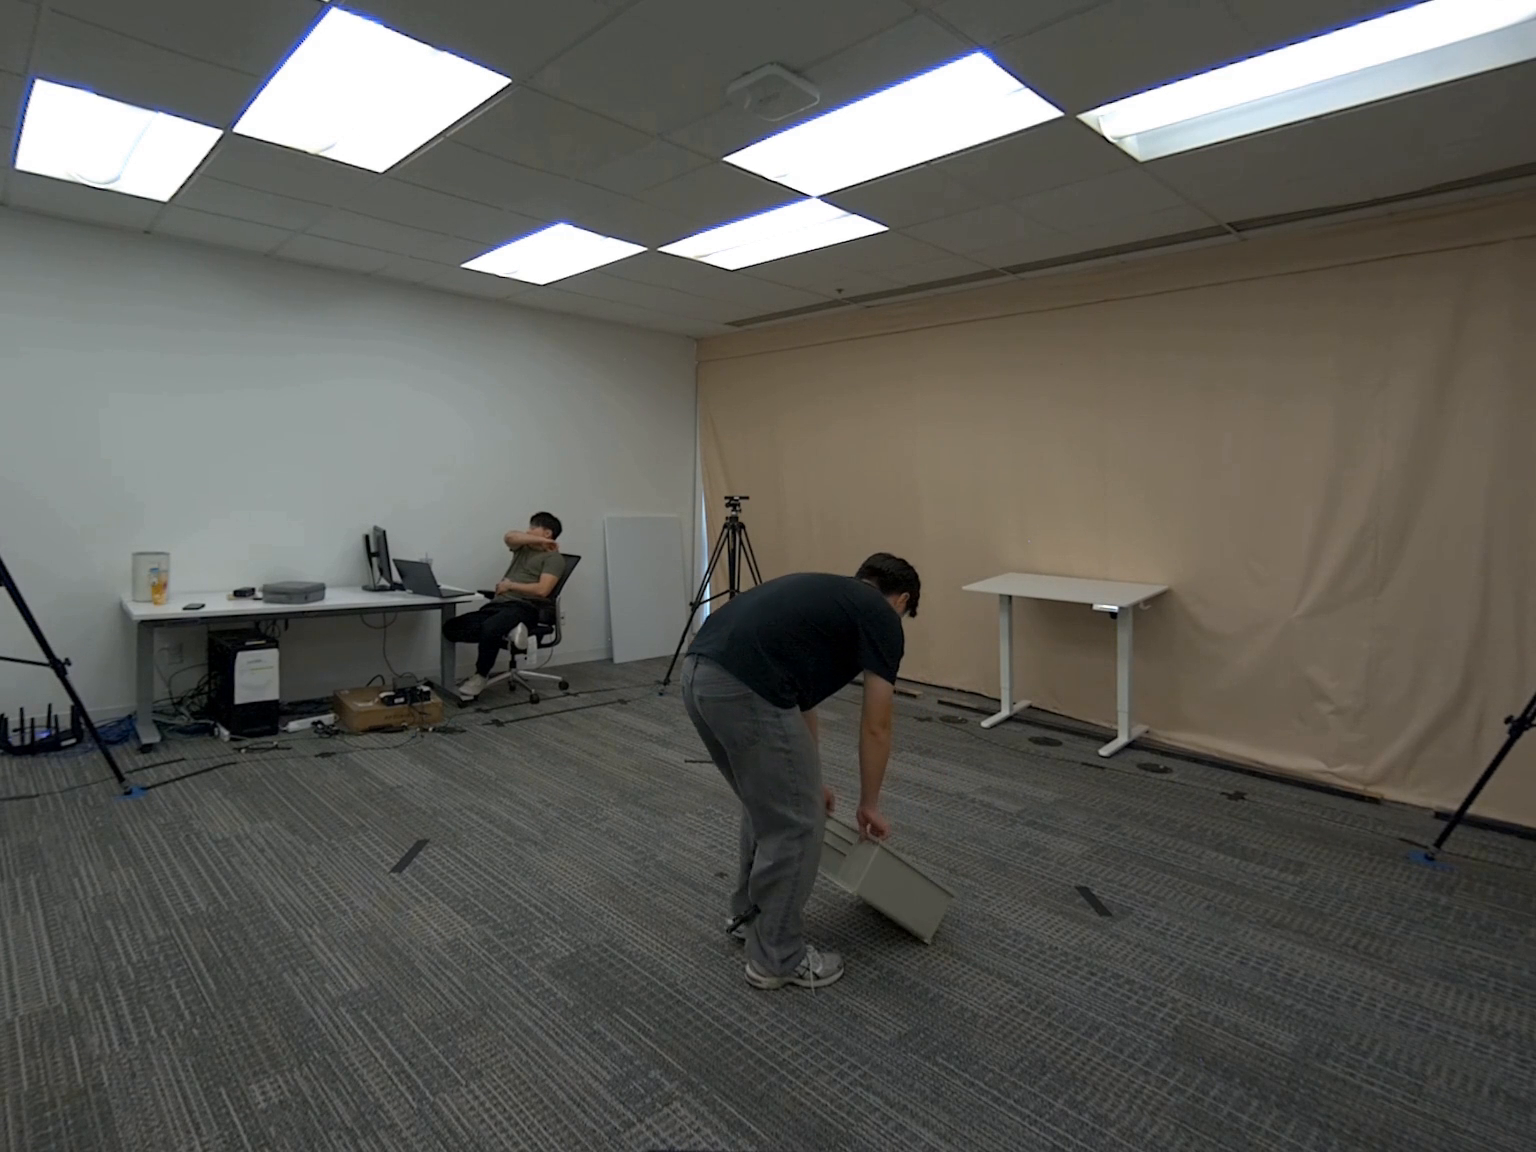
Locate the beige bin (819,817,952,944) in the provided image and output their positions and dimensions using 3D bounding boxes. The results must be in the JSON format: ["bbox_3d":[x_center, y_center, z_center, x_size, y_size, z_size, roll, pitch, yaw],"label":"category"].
[{"bbox_3d":[0.318,0.955,2.726,0.411,0.189,0.386,41,-15,-28],"label":"beige bin"}]
